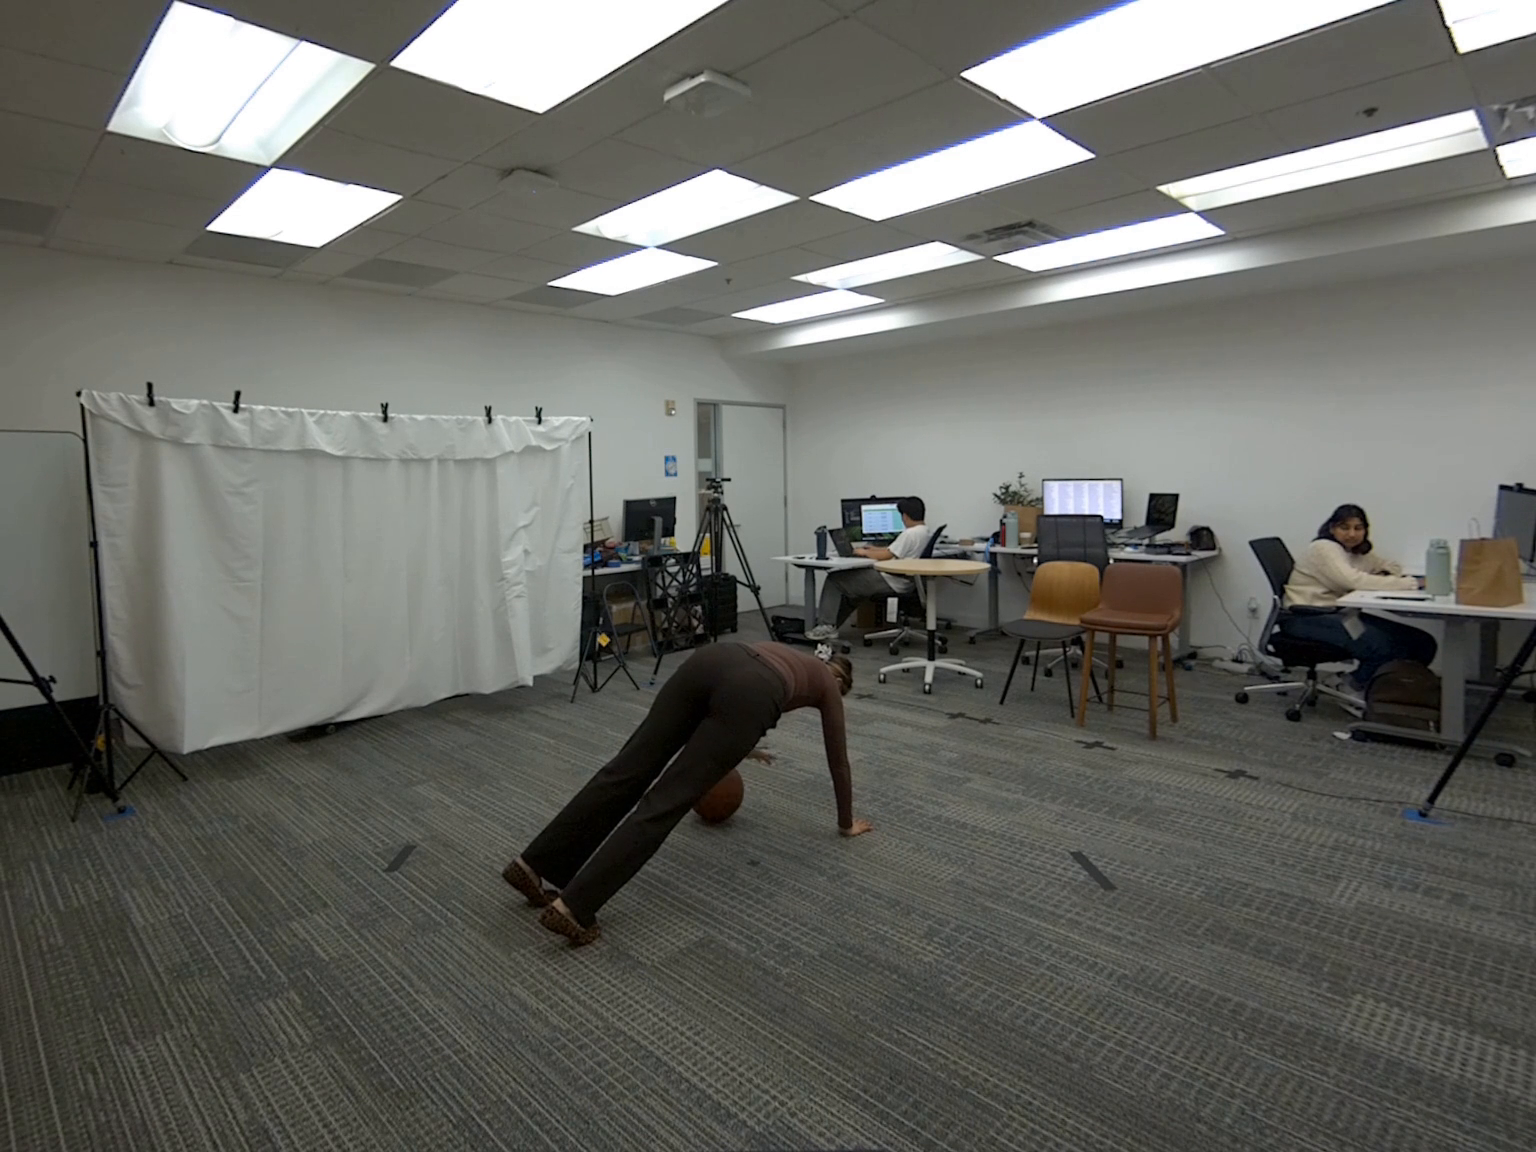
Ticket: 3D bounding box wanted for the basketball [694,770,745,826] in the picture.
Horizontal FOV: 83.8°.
[{"bbox_3d":[-0.217,0.882,3.518,0.236,0.235,0.237,-1,5,-2],"label":"basketball"}]
